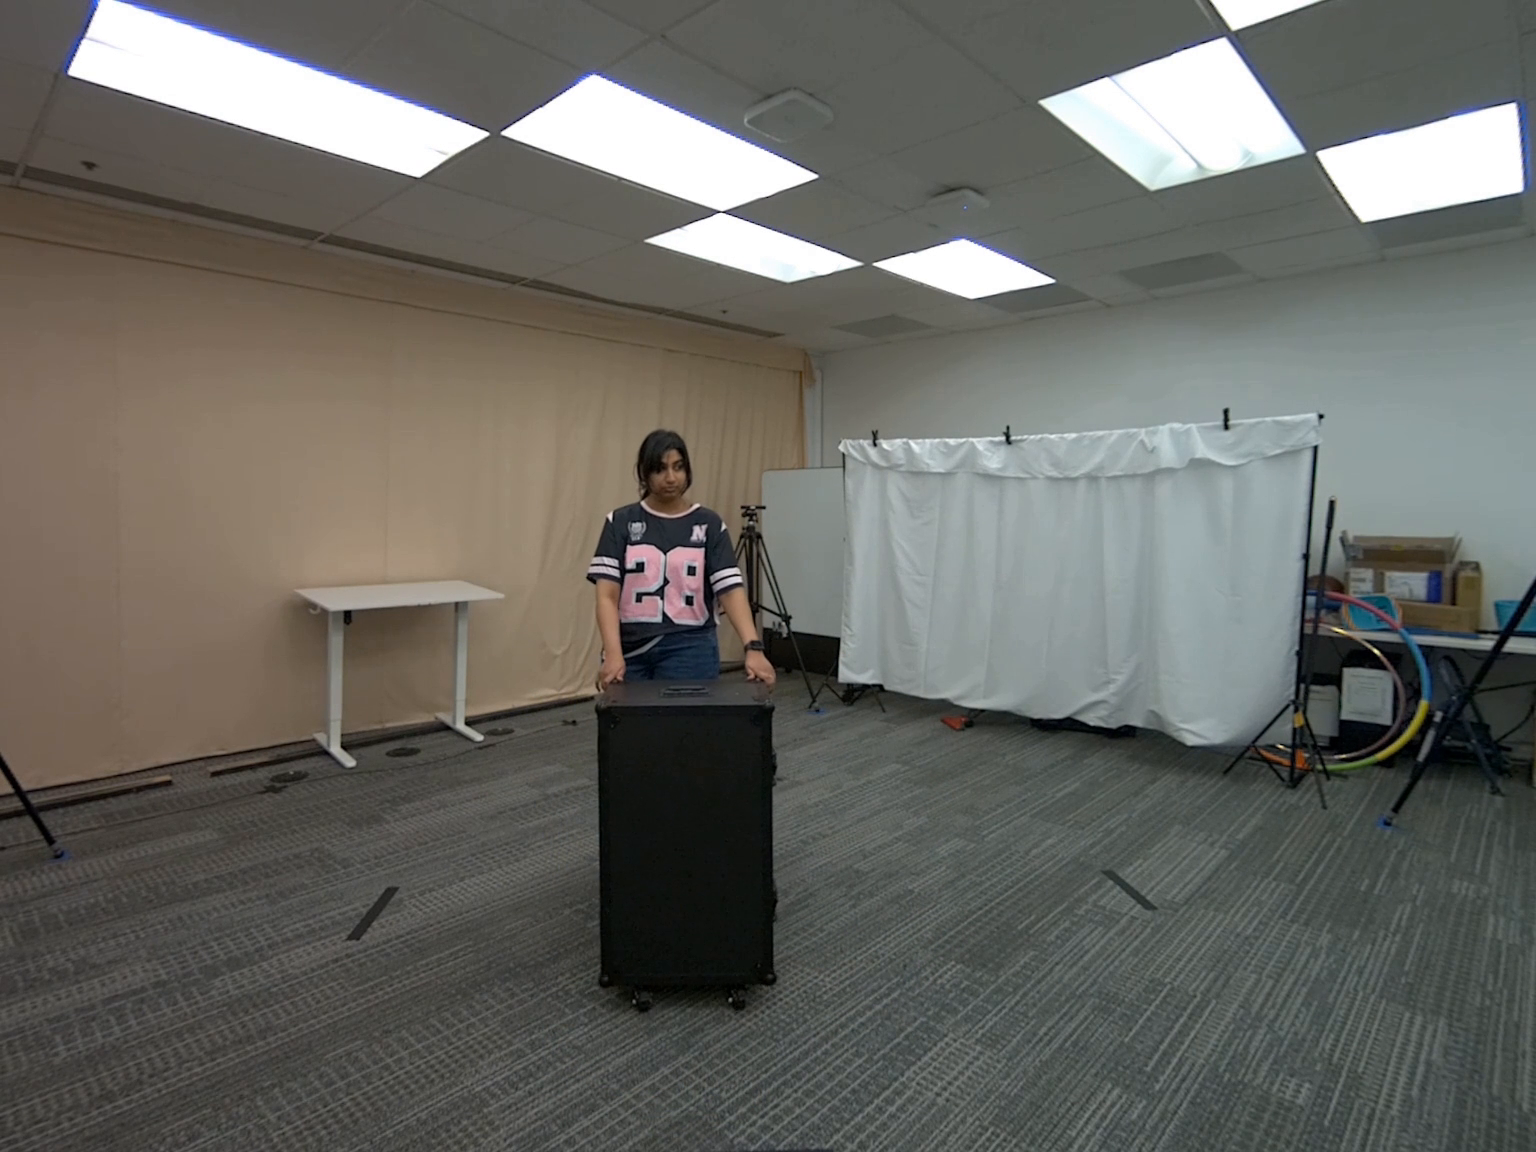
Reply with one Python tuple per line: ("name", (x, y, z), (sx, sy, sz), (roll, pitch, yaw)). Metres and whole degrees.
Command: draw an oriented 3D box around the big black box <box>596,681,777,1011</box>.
("big black box", (-0.239, 0.761, 2.483), (0.522, 0.868, 0.386), (0, 1, -3))
